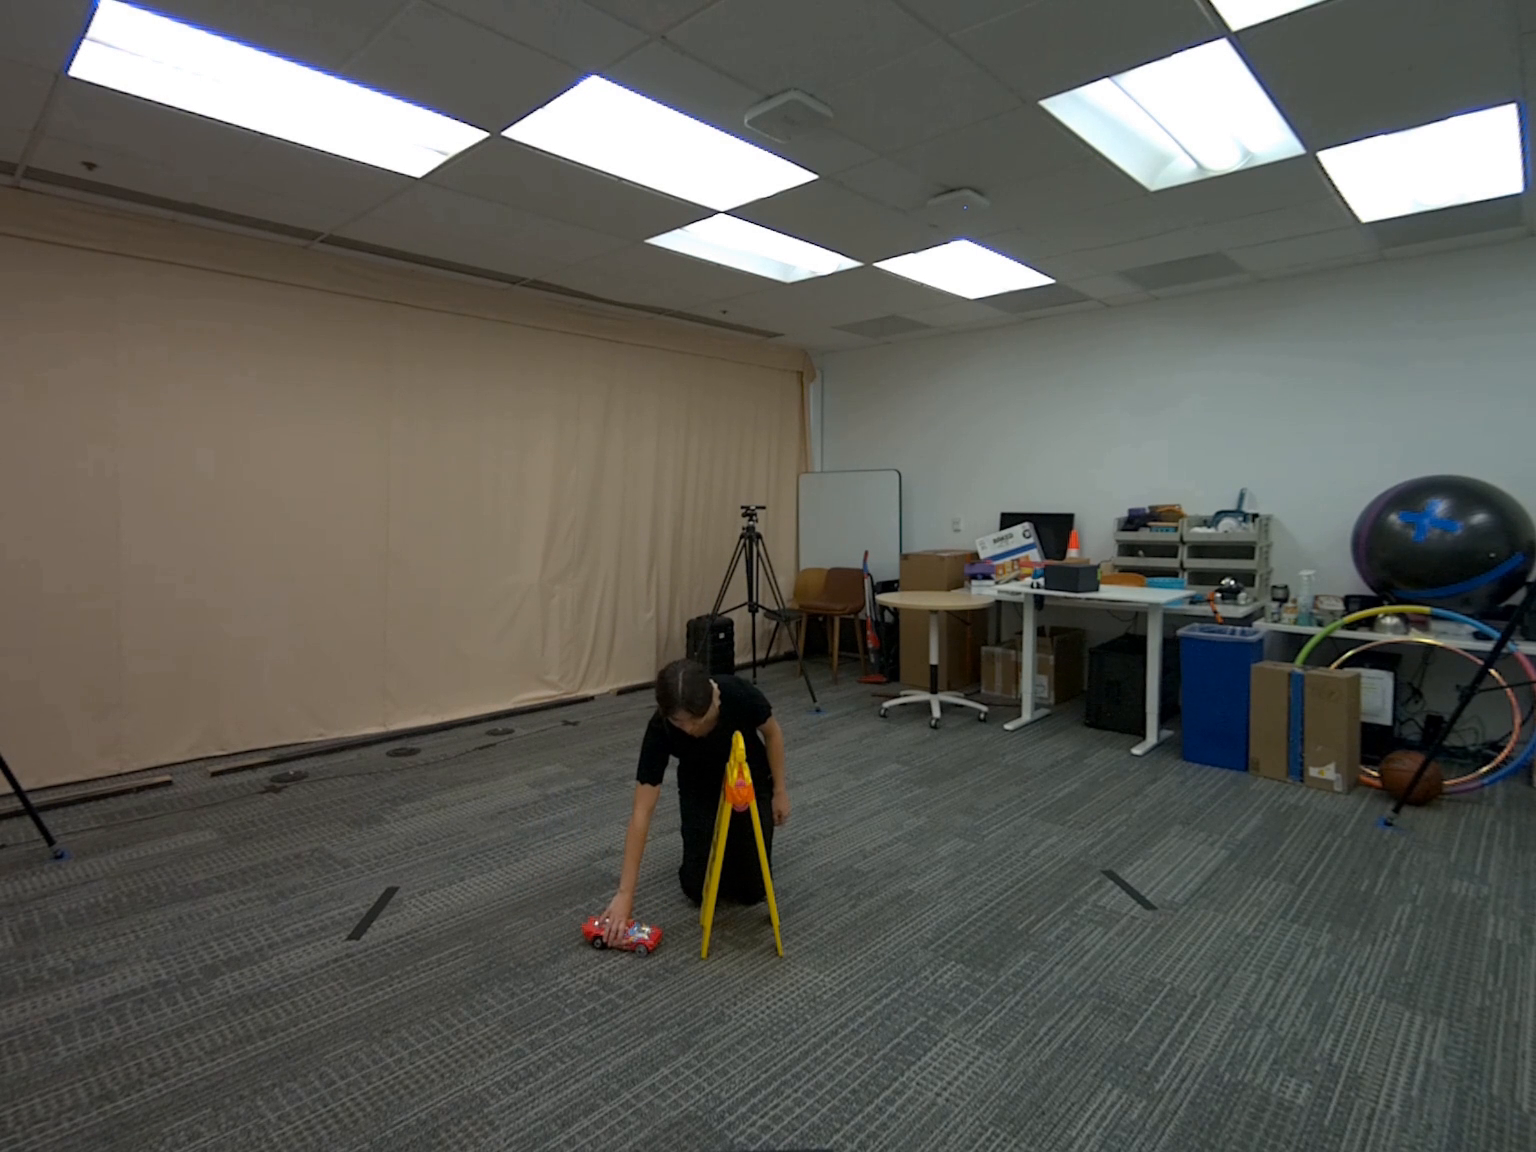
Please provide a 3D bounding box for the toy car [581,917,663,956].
[{"bbox_3d":[-0.466,1.146,2.680,0.259,0.083,0.128,11,7,15],"label":"toy car"}]
